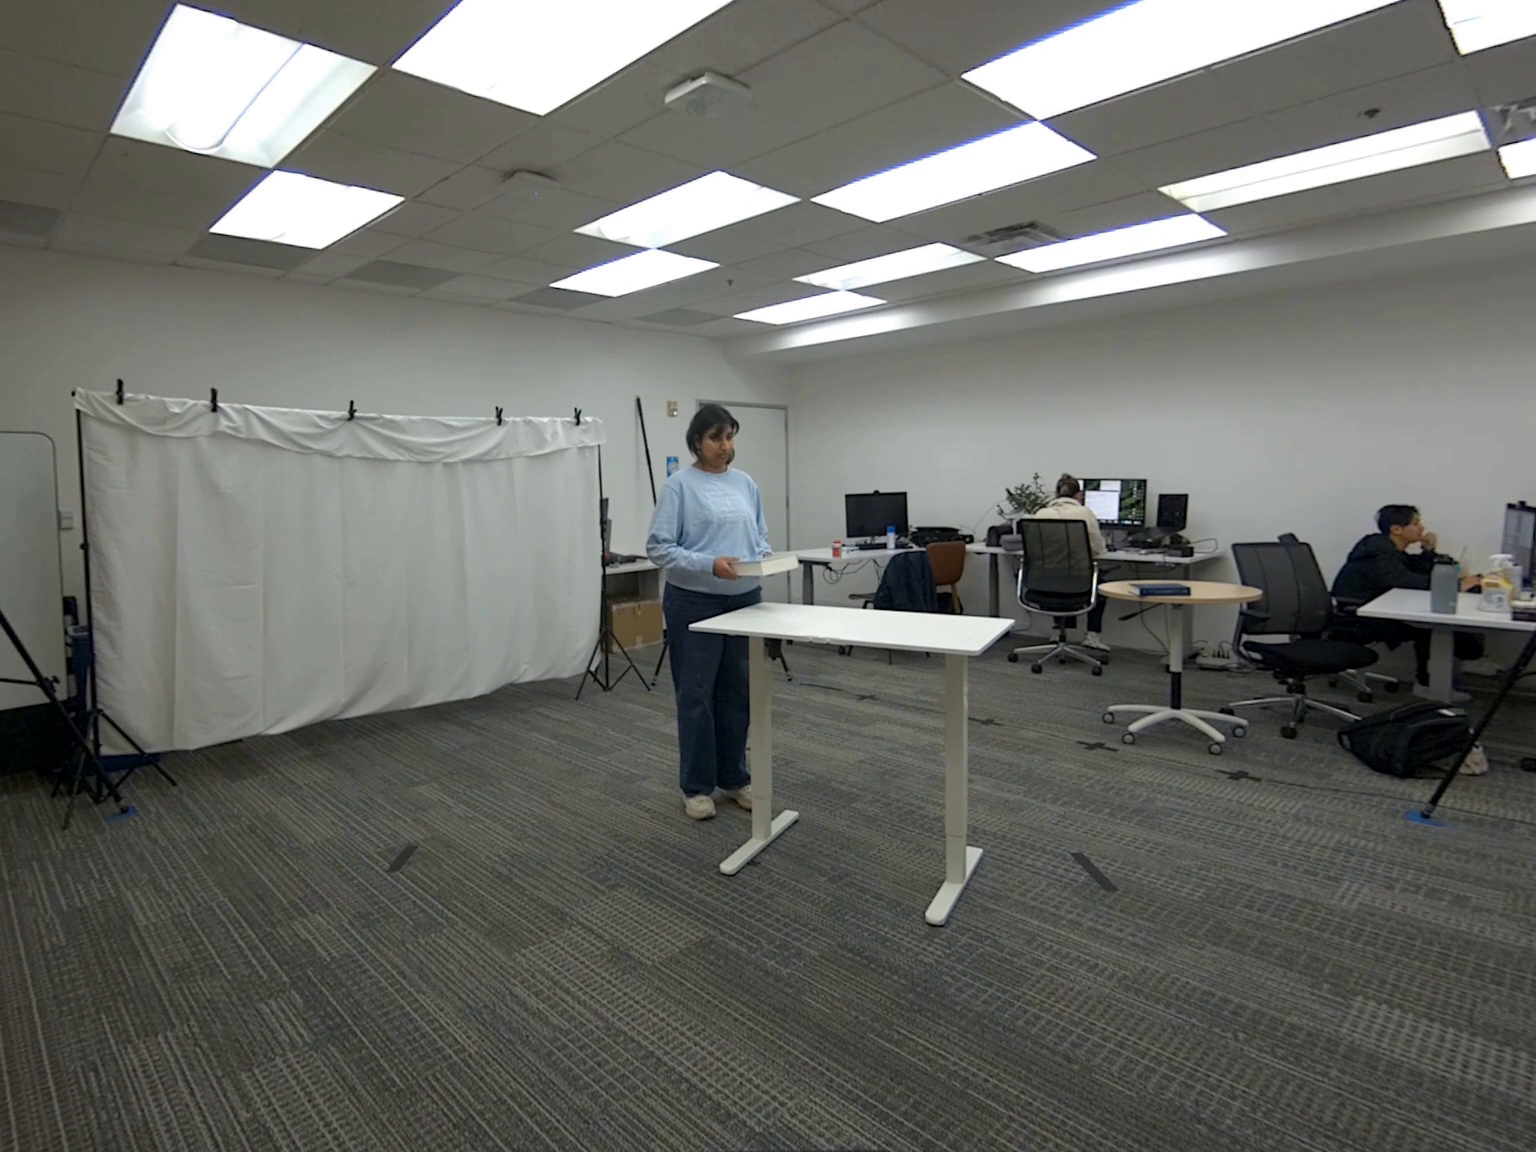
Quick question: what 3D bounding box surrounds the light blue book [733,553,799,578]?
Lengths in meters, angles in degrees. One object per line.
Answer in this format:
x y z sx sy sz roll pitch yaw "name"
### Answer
-0.037 -0.041 3.363 0.187 0.059 0.268 -12 6 -38 "light blue book"
